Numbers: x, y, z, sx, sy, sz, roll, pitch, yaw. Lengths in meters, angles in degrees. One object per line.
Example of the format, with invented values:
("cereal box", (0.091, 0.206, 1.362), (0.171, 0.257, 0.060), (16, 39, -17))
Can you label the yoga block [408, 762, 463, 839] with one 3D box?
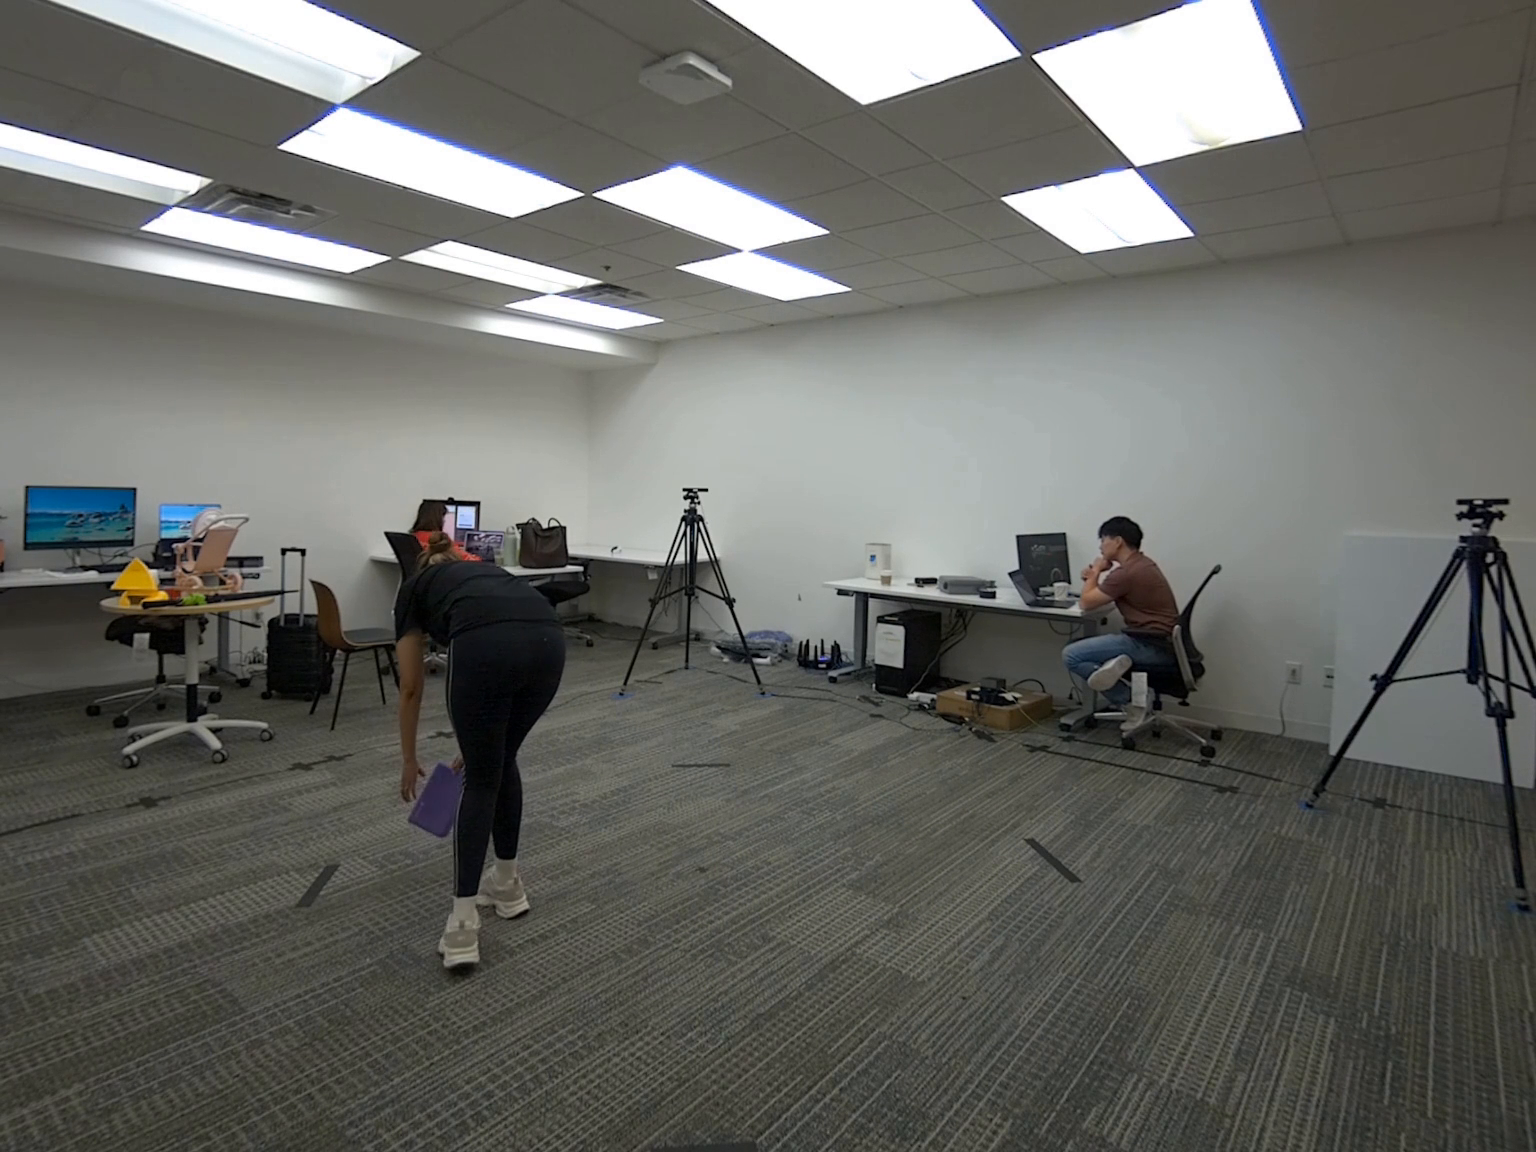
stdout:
("yoga block", (-1.185, 0.795, 3.065), (0.149, 0.231, 0.076), (24, -14, 2))
